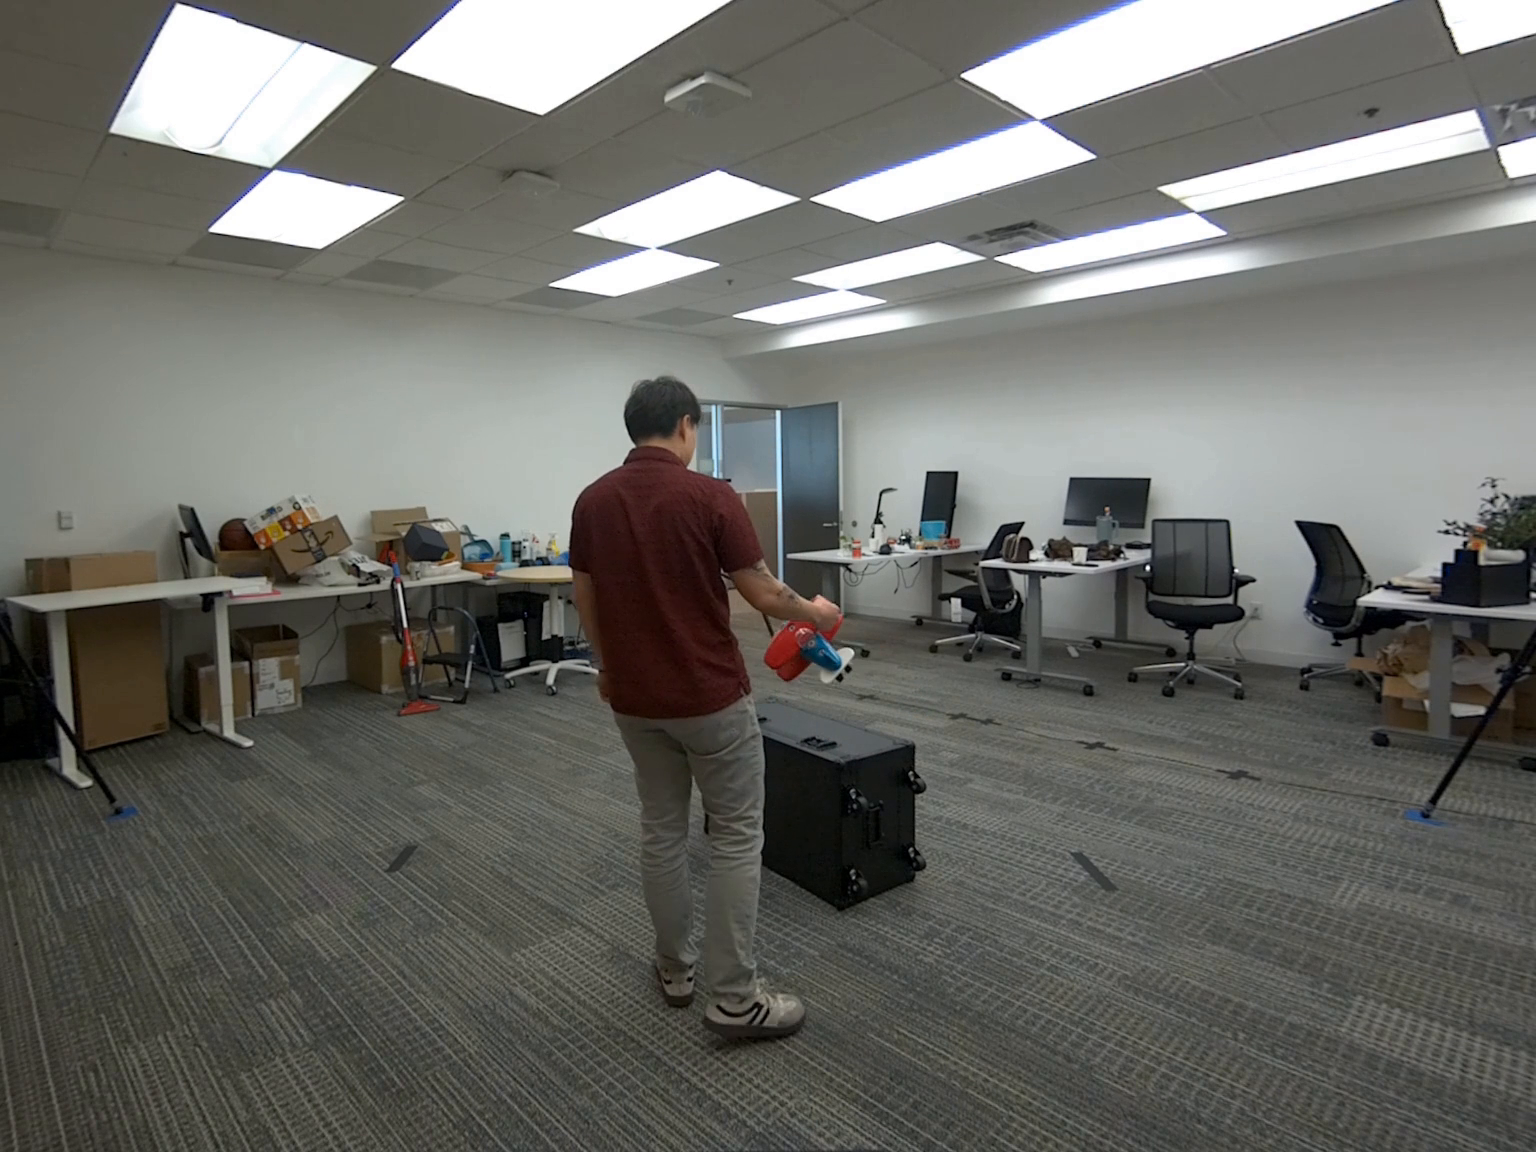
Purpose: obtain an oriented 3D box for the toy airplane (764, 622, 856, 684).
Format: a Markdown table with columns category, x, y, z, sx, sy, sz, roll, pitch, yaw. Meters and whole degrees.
| category | x | y | z | sx | sy | sz | roll | pitch | yaw |
| --- | --- | --- | --- | --- | --- | --- | --- | --- | --- |
| toy airplane | 0.147 | 0.191 | 2.462 | 0.265 | 0.253 | 0.151 | -8 | -45 | 46 |
